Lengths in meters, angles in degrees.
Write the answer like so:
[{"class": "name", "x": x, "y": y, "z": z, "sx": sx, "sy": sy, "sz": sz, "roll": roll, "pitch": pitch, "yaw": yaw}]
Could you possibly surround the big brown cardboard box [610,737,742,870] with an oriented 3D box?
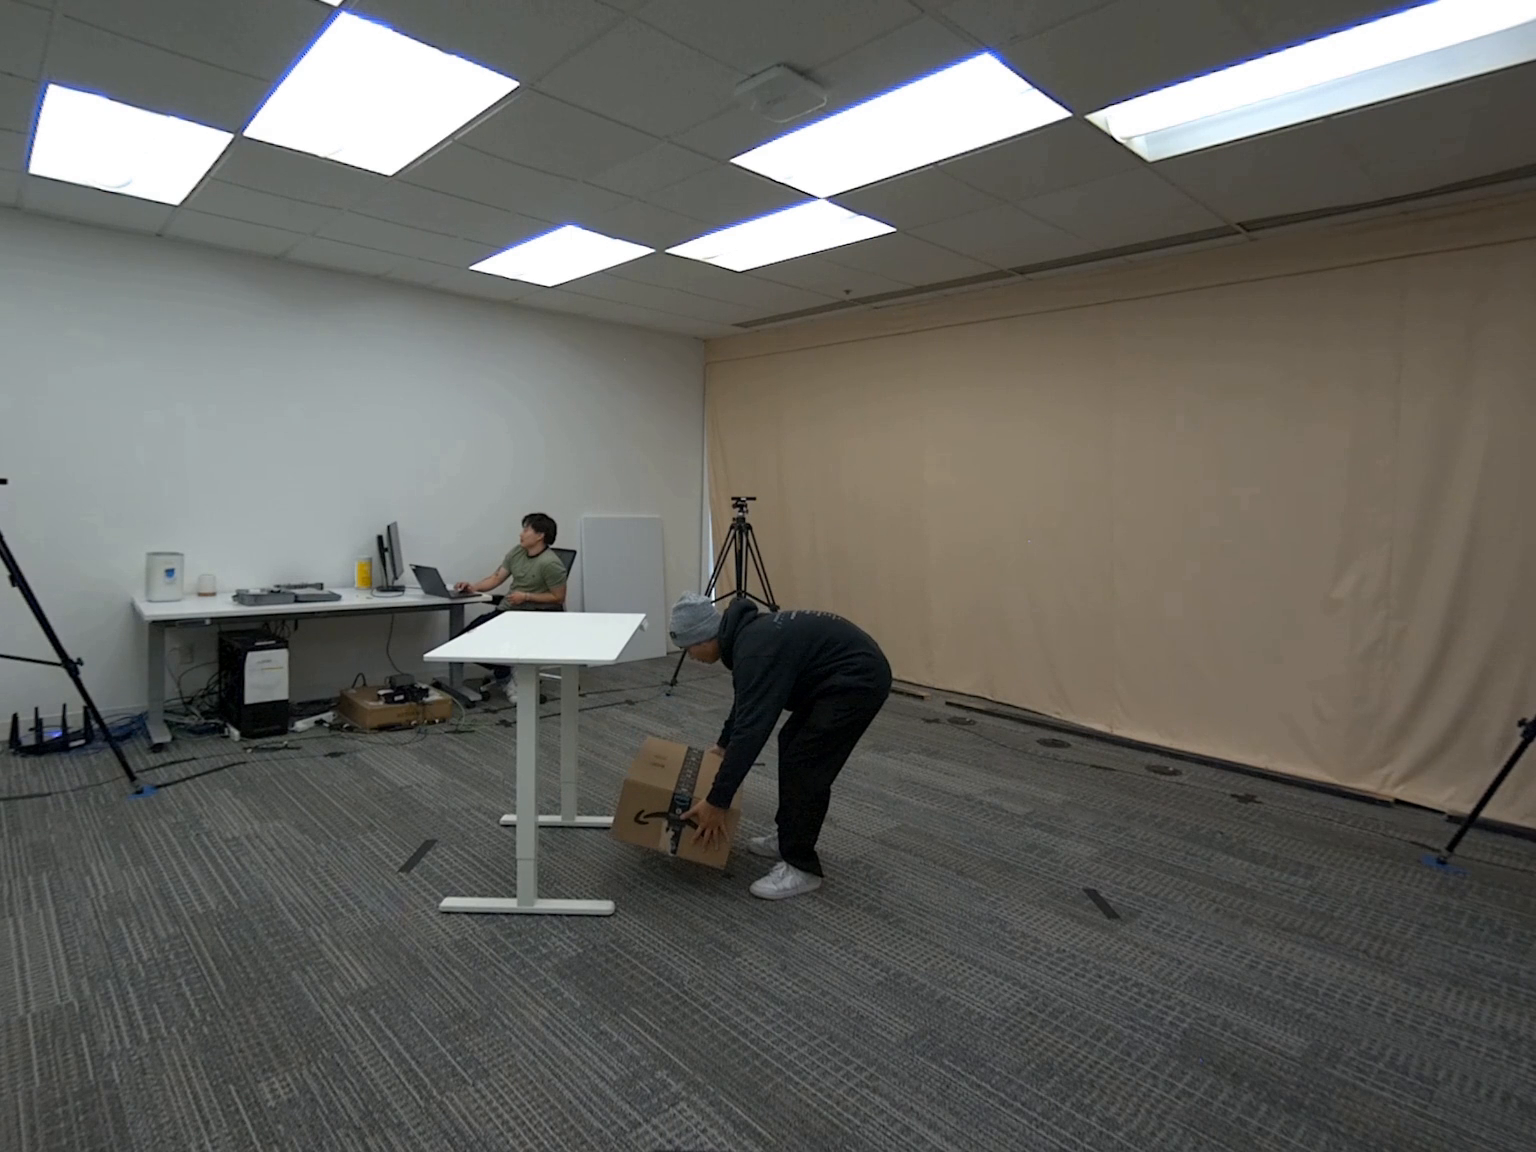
[{"class": "big brown cardboard box", "x": -0.323, "y": 0.826, "z": 3.156, "sx": 0.418, "sy": 0.233, "sz": 0.589, "roll": 15, "pitch": 4, "yaw": 0}]
